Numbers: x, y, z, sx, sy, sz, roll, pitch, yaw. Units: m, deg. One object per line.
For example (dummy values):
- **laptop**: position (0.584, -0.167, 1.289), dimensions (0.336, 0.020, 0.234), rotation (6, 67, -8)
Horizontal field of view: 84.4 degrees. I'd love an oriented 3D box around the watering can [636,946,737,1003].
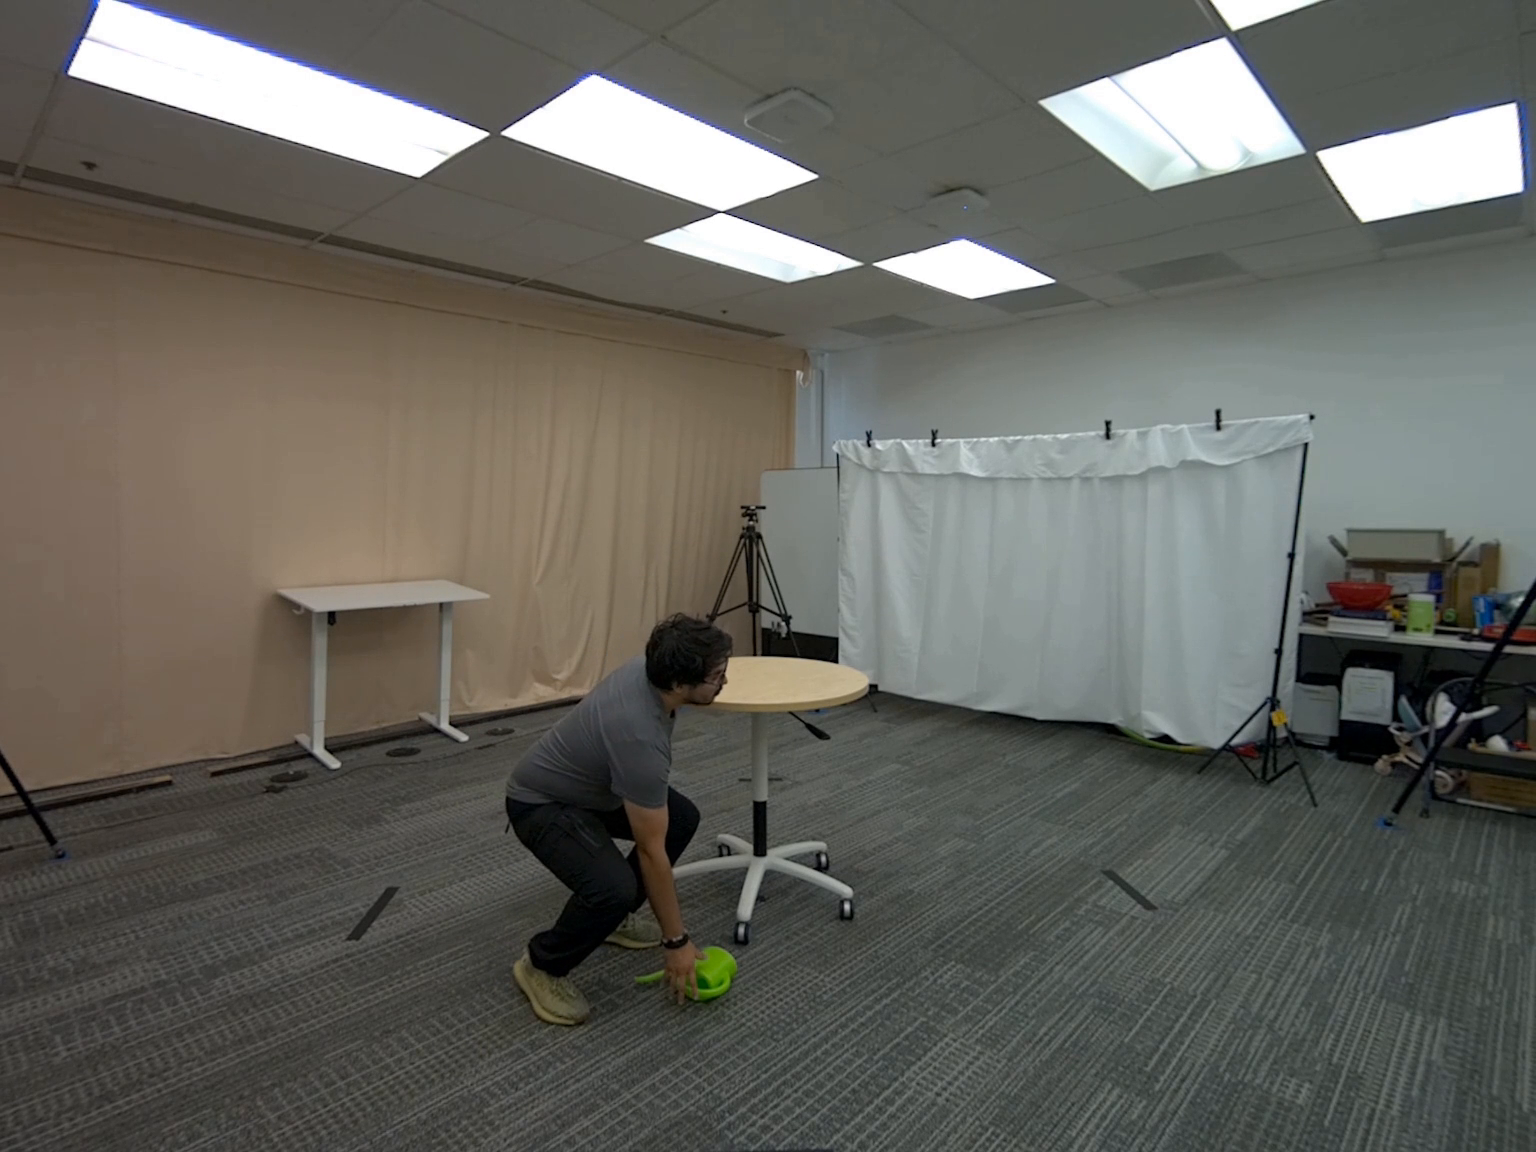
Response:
- **watering can**: position (-0.222, 1.142, 2.422), dimensions (0.287, 0.097, 0.172), rotation (10, 9, 30)
